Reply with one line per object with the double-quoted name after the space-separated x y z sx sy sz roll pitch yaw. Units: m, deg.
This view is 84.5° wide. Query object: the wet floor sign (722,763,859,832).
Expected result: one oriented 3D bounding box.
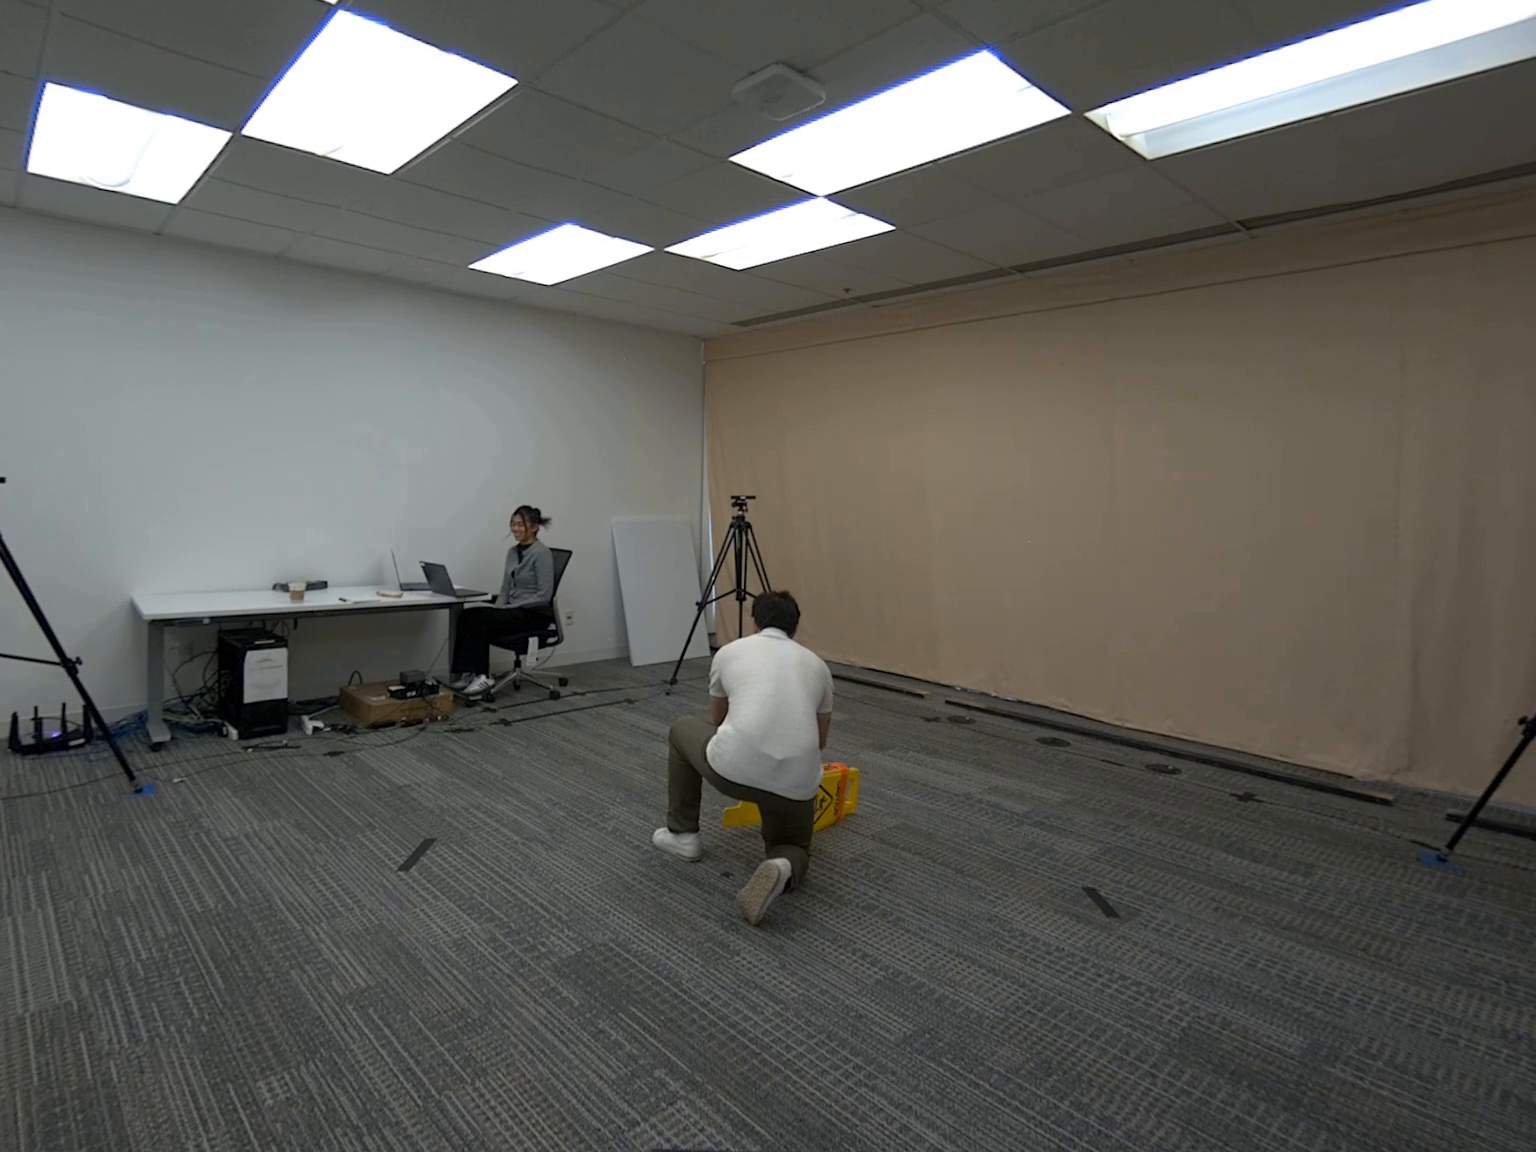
0.149 0.930 3.557 0.629 0.282 0.297 6 3 -42 "wet floor sign"
